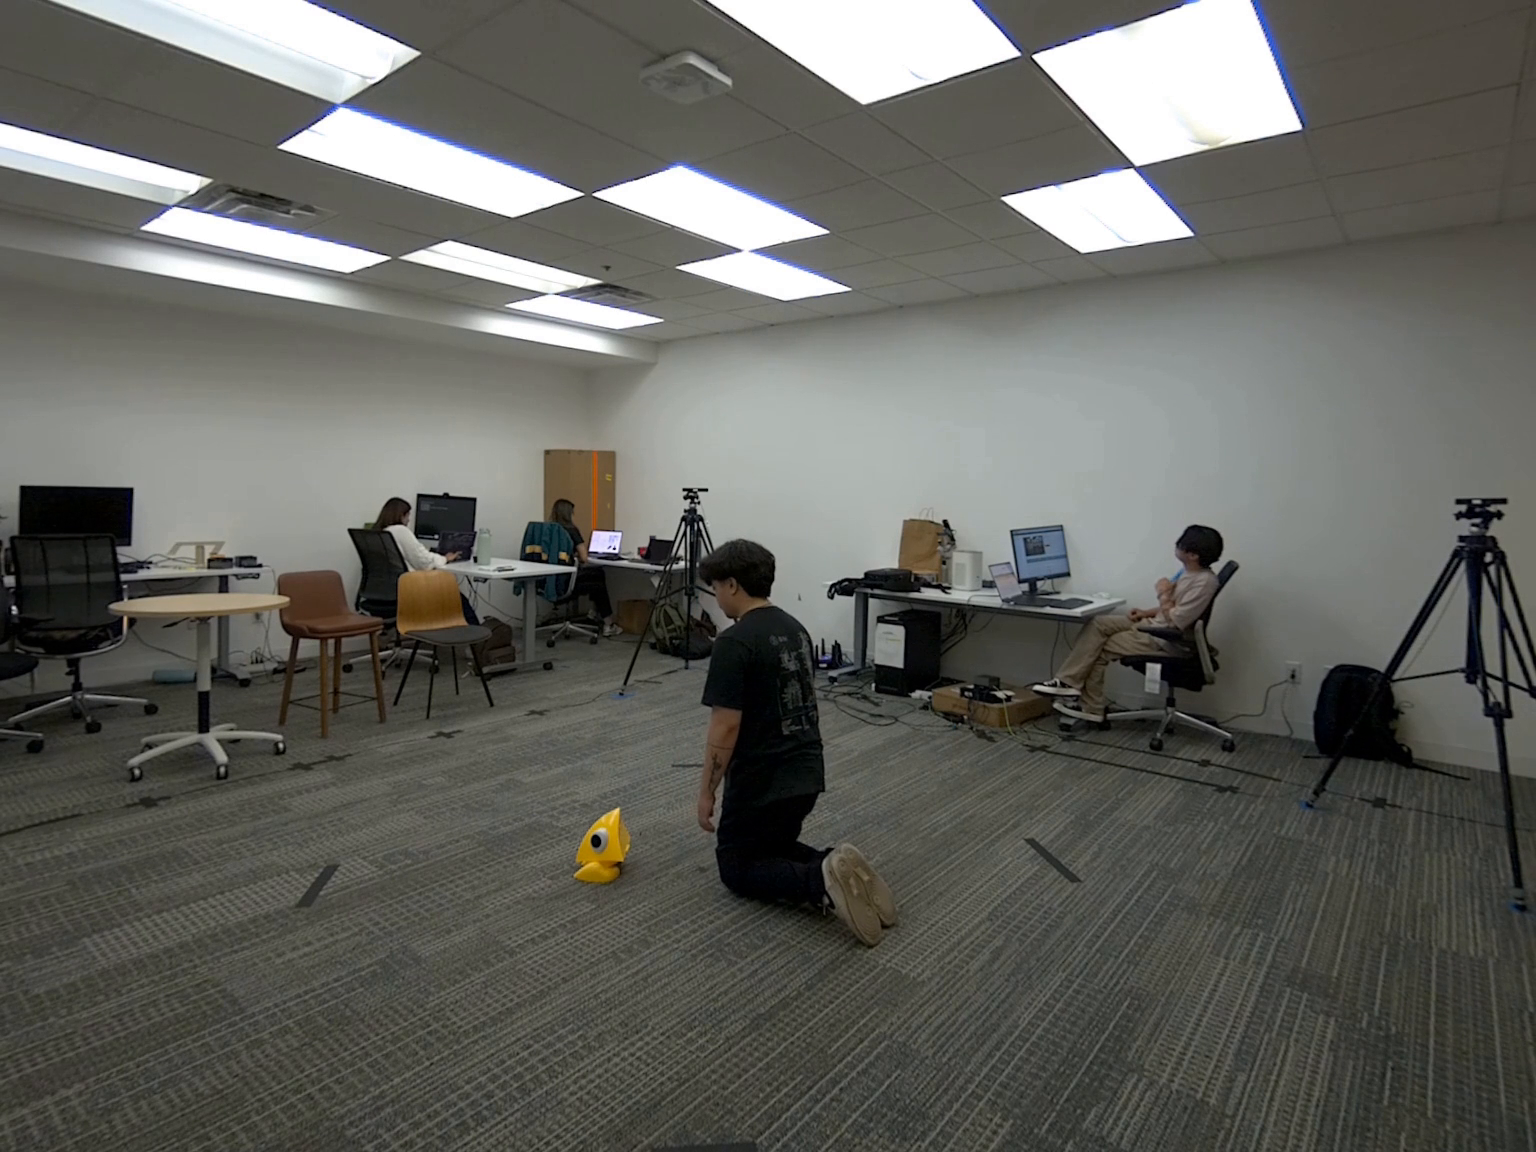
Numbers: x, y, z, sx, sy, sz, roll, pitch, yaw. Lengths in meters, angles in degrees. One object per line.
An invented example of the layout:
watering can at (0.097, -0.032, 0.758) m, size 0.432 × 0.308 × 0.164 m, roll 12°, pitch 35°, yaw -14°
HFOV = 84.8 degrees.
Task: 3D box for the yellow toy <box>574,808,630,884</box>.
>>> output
yellow toy at (-0.613, 0.952, 3.090) m, size 0.193 × 0.230 × 0.205 m, roll 2°, pitch 4°, yaw -1°
